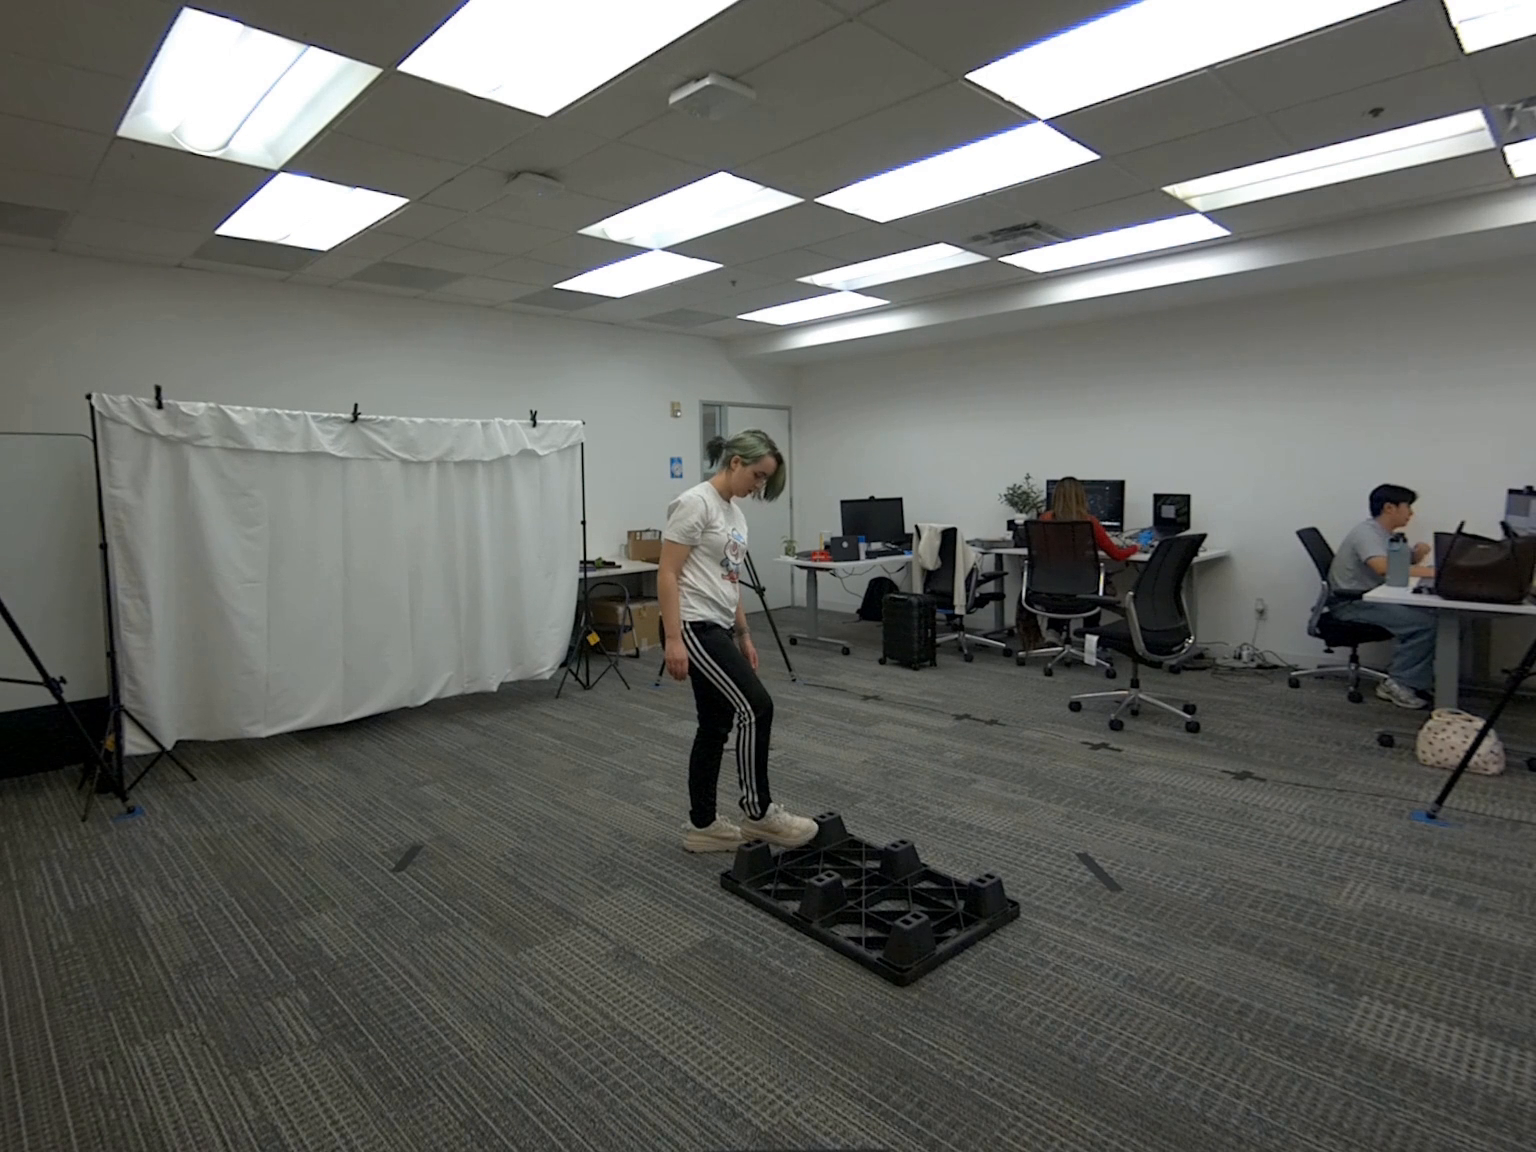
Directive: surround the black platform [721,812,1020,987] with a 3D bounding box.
[{"bbox_3d":[0.310,1.007,2.823,0.589,0.143,0.830,-6,8,-41],"label":"black platform"}]
